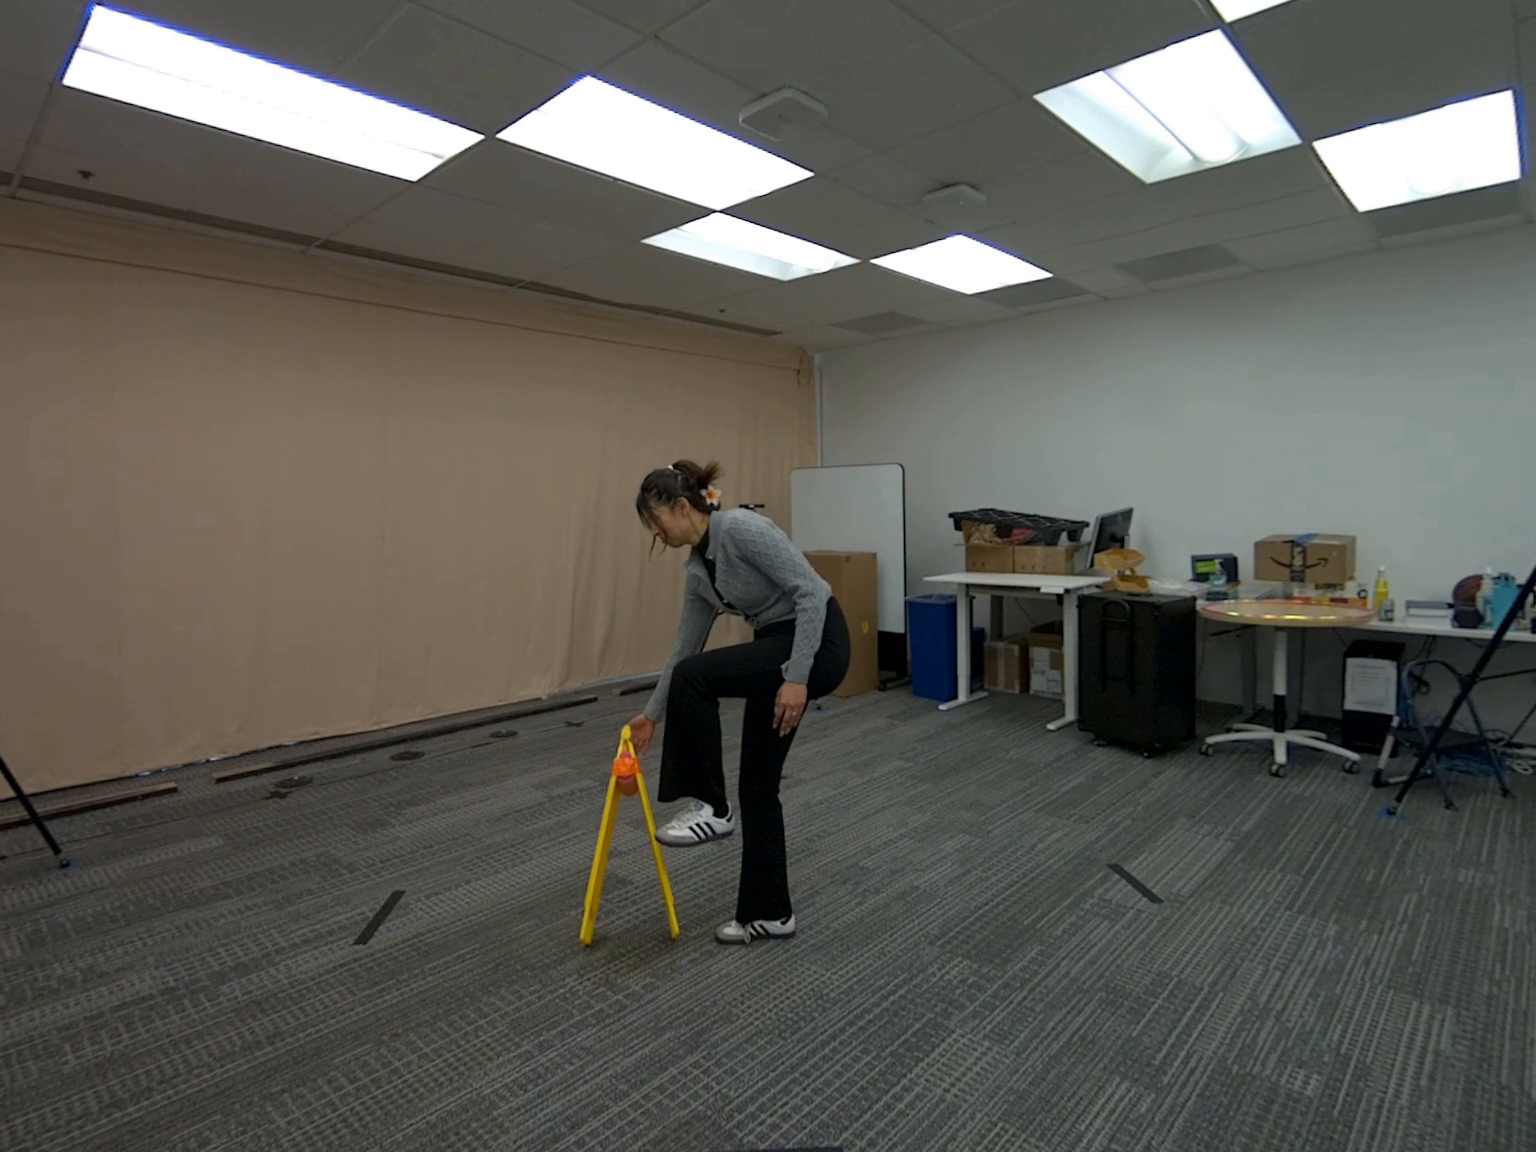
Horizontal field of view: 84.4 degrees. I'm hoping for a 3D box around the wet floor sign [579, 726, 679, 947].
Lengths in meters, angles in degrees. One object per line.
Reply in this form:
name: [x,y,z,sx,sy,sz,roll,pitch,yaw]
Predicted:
wet floor sign: [-0.451,0.830,2.721,0.288,0.657,0.279,-3,-26,-7]
